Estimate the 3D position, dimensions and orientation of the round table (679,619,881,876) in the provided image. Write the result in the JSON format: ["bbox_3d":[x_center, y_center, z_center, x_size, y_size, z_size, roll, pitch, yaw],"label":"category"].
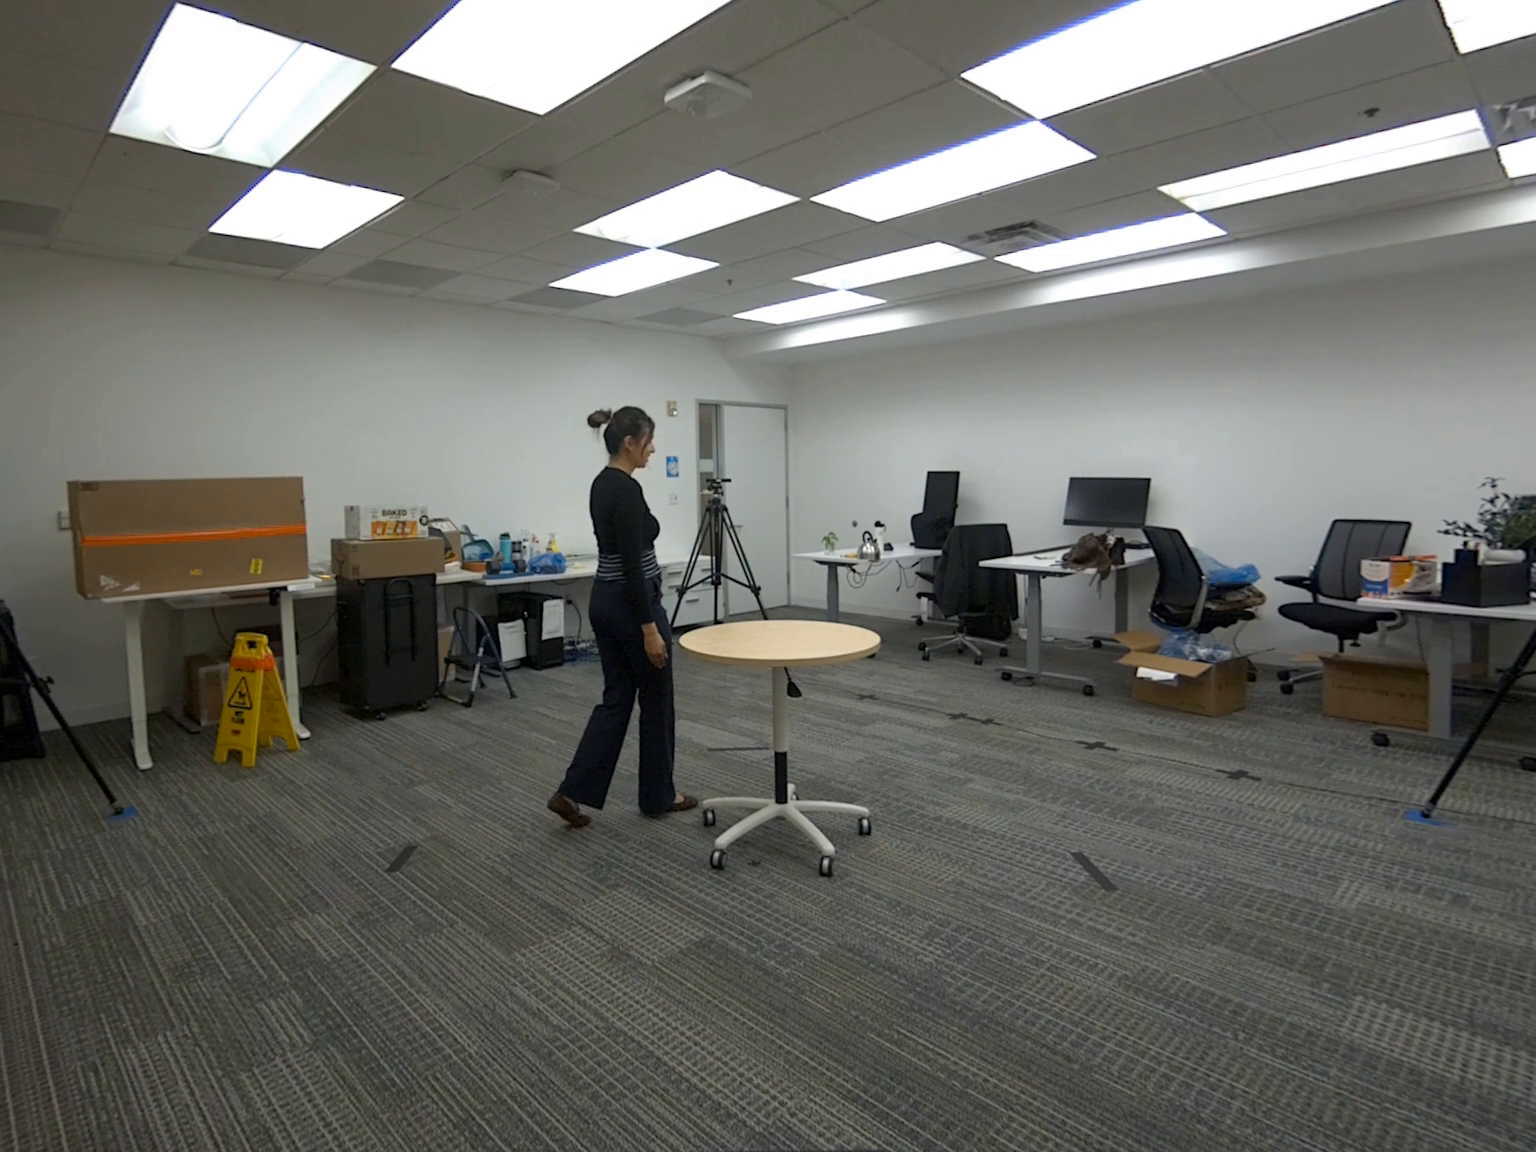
[{"bbox_3d":[0.048,0.631,3.295,0.763,0.791,0.768,-1,5,-2],"label":"round table"}]
